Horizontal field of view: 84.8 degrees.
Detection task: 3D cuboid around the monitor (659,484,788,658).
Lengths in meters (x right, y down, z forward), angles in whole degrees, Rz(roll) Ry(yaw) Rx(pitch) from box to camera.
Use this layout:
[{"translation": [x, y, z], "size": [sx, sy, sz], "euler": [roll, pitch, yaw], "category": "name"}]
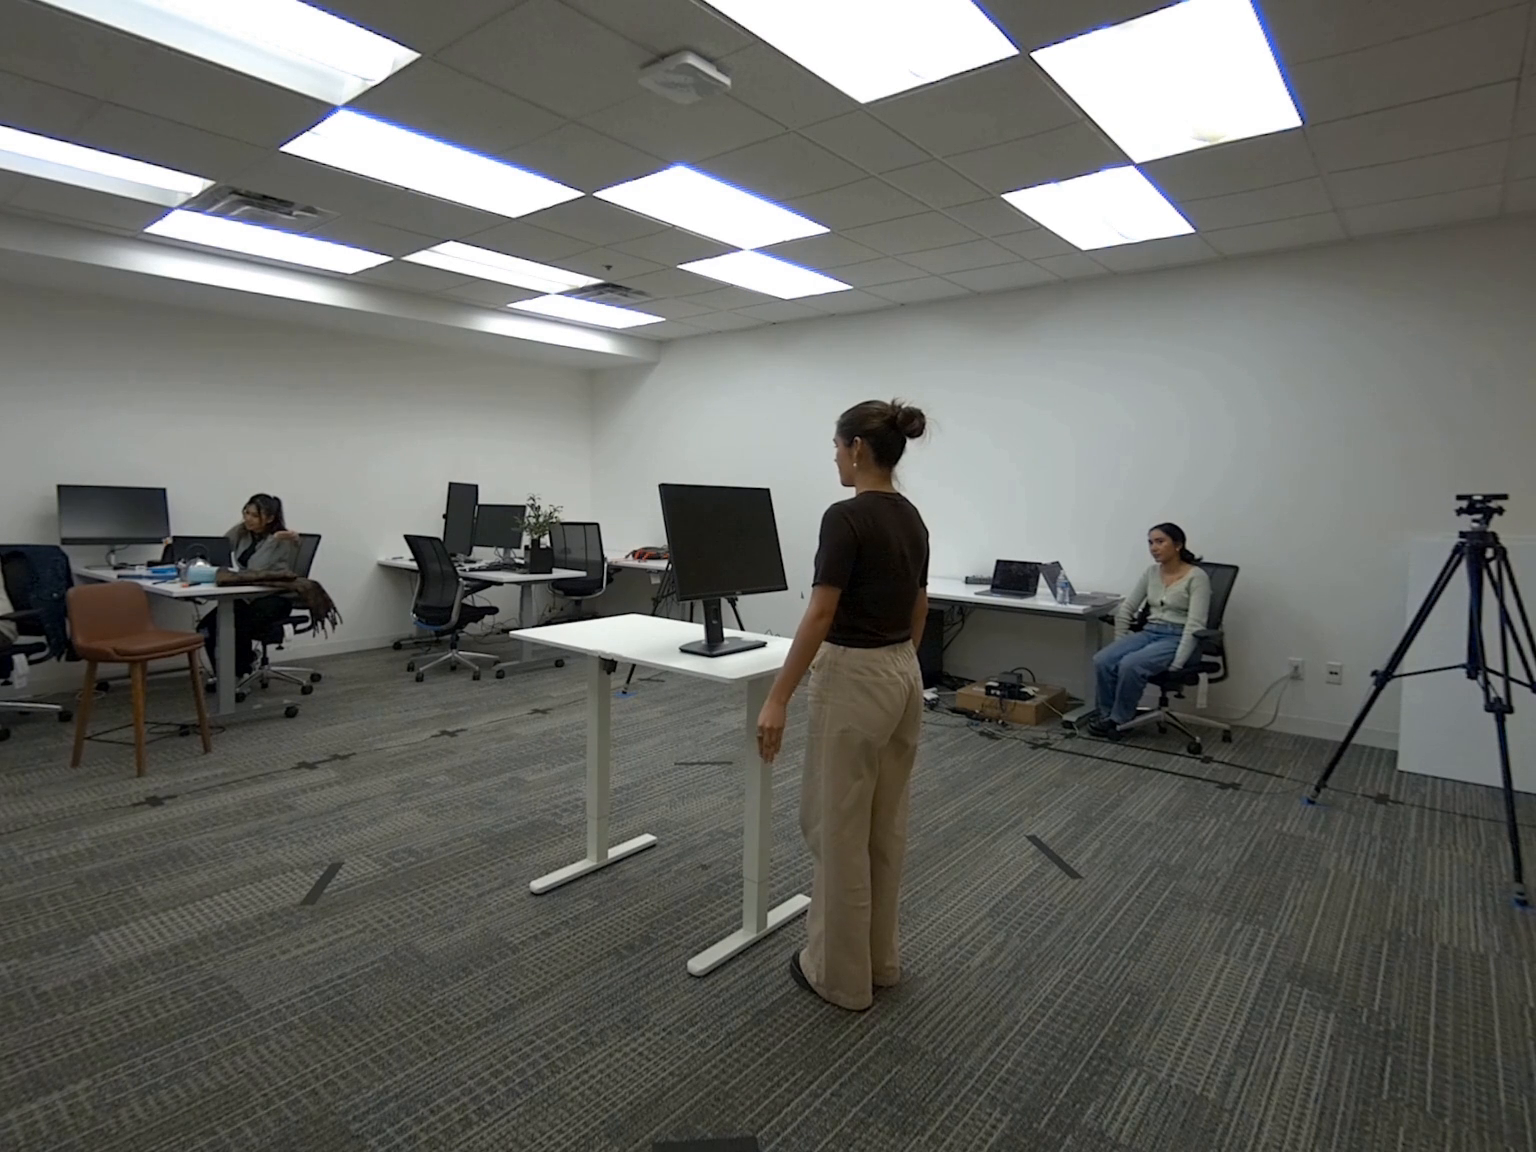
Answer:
[{"translation": [-0.159, -0.024, 2.686], "size": [0.193, 0.522, 0.523], "euler": [0, 2, 36], "category": "monitor"}]
